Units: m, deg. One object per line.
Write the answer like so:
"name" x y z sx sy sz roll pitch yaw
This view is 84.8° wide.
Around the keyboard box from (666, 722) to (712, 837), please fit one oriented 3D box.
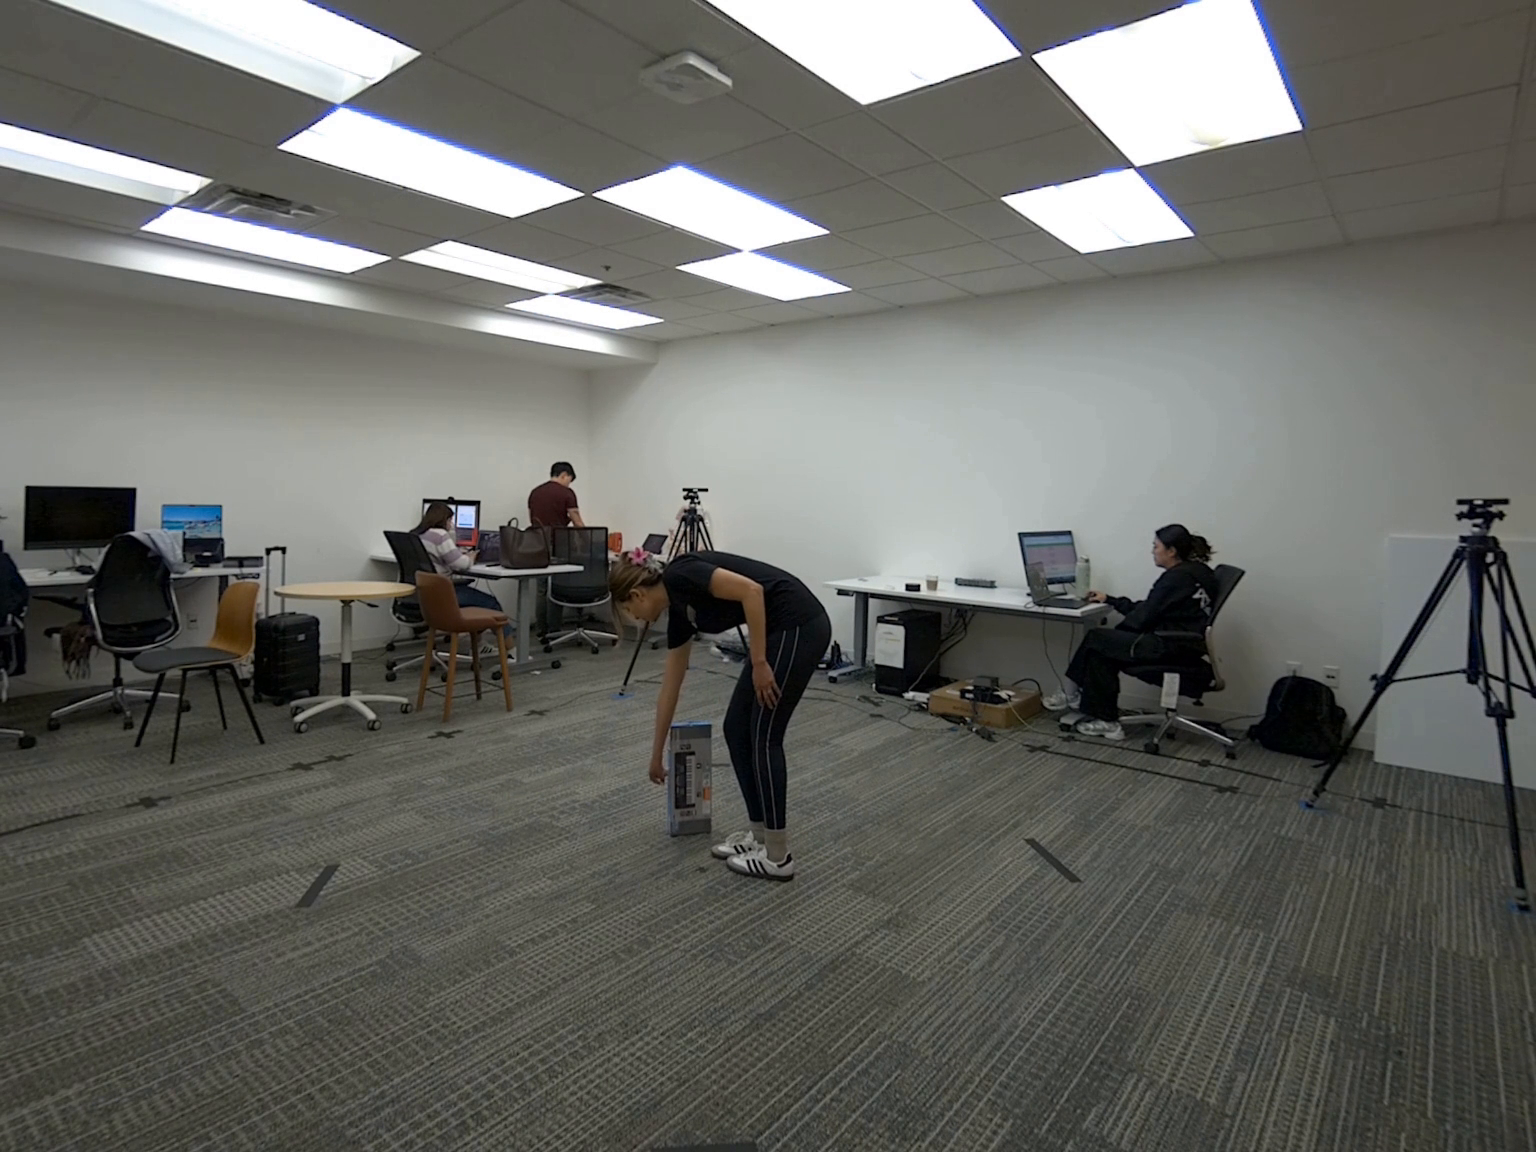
"keyboard box" -0.328 0.818 3.450 0.173 0.438 0.060 0 -2 -16
